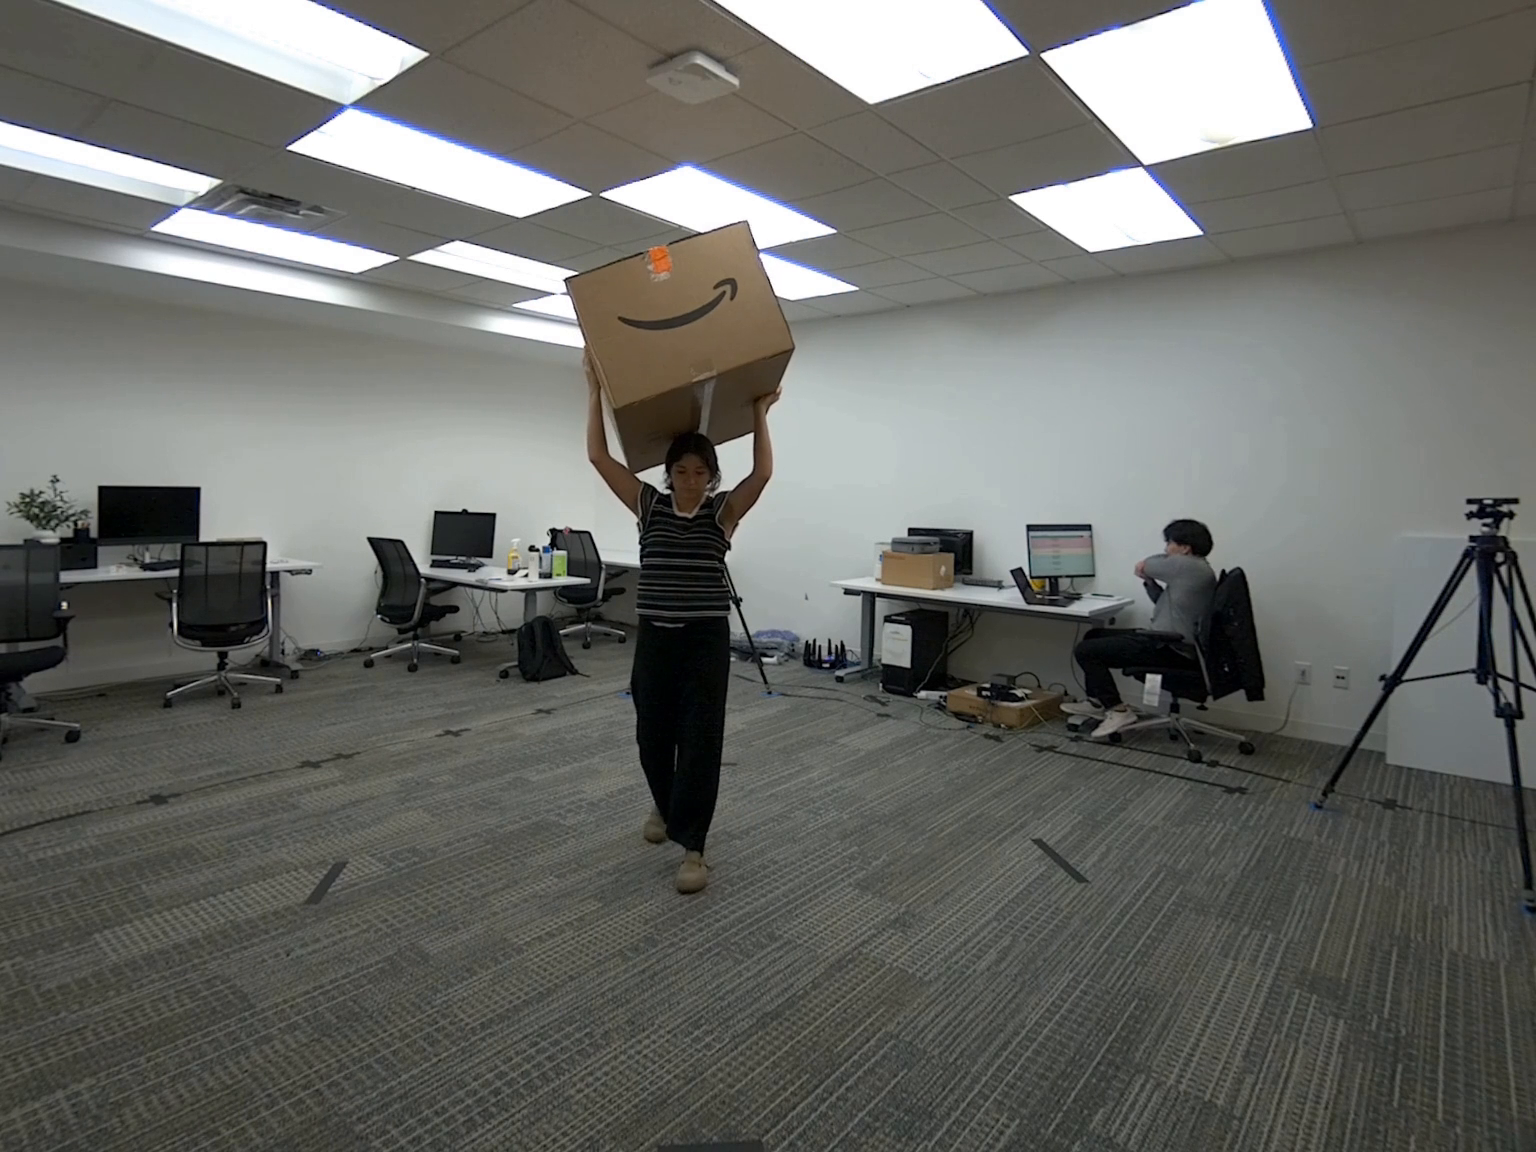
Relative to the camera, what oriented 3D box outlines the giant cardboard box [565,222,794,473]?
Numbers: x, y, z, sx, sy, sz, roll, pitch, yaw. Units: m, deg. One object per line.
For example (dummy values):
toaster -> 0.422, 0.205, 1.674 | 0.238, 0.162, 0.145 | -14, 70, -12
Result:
giant cardboard box -> -0.328, -0.743, 2.990 | 0.575, 0.429, 1.024 | -20, -3, -7
